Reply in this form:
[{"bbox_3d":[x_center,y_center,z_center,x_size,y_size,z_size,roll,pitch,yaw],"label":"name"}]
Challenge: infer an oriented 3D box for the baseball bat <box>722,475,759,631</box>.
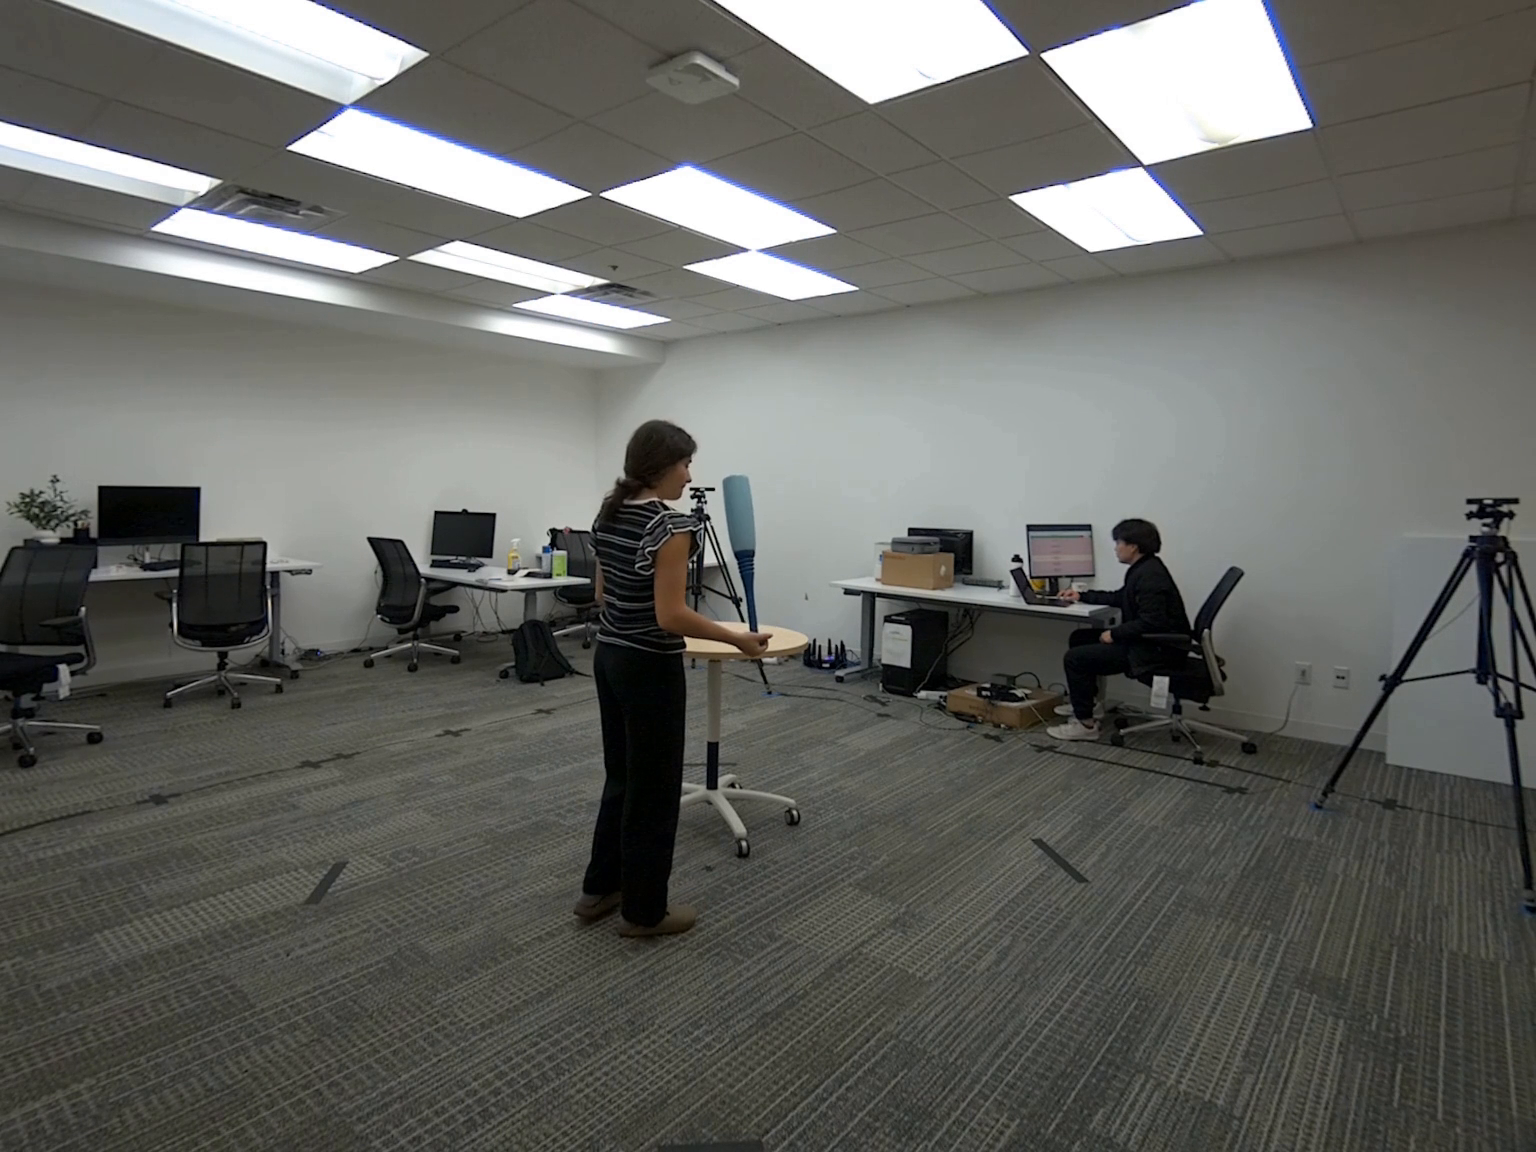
[{"bbox_3d":[-0.089,-0.052,2.635,0.089,0.551,0.088,-6,-13,-3],"label":"baseball bat"}]
